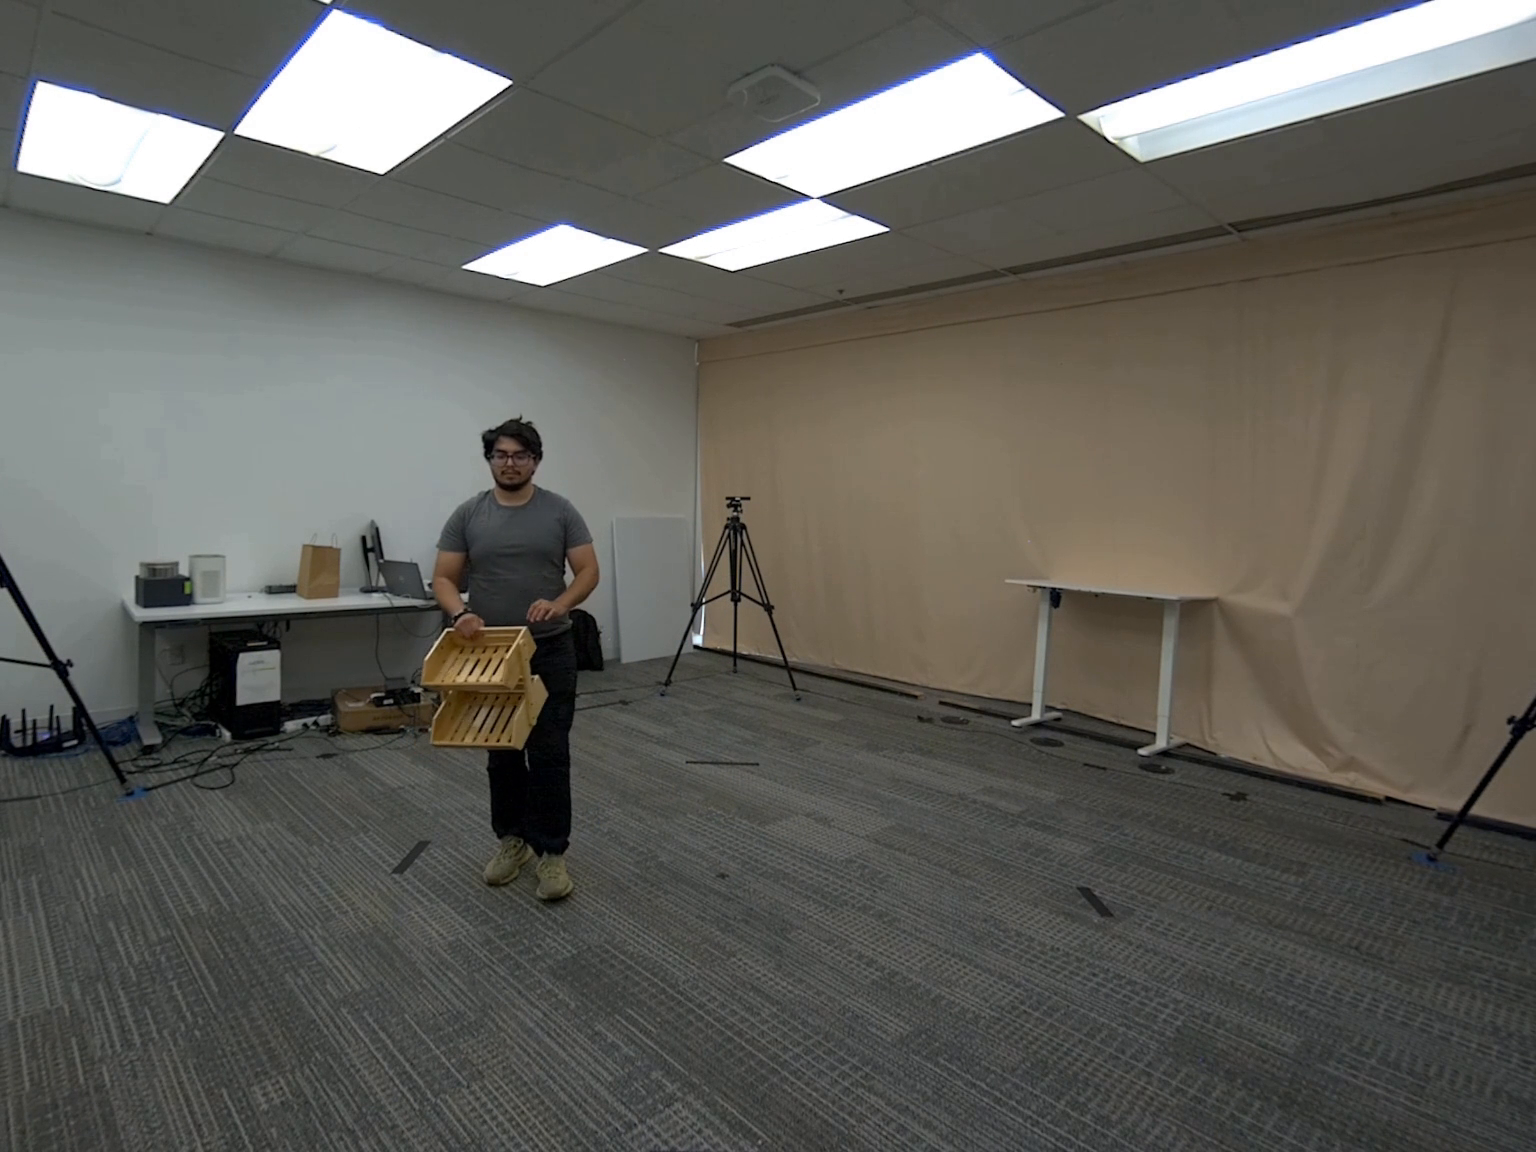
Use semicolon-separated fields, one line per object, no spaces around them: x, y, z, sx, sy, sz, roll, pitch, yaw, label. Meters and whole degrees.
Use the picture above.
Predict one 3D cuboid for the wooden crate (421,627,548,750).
-0.927;0.363;2.666;0.328;0.266;0.306;-2;37;15;wooden crate
